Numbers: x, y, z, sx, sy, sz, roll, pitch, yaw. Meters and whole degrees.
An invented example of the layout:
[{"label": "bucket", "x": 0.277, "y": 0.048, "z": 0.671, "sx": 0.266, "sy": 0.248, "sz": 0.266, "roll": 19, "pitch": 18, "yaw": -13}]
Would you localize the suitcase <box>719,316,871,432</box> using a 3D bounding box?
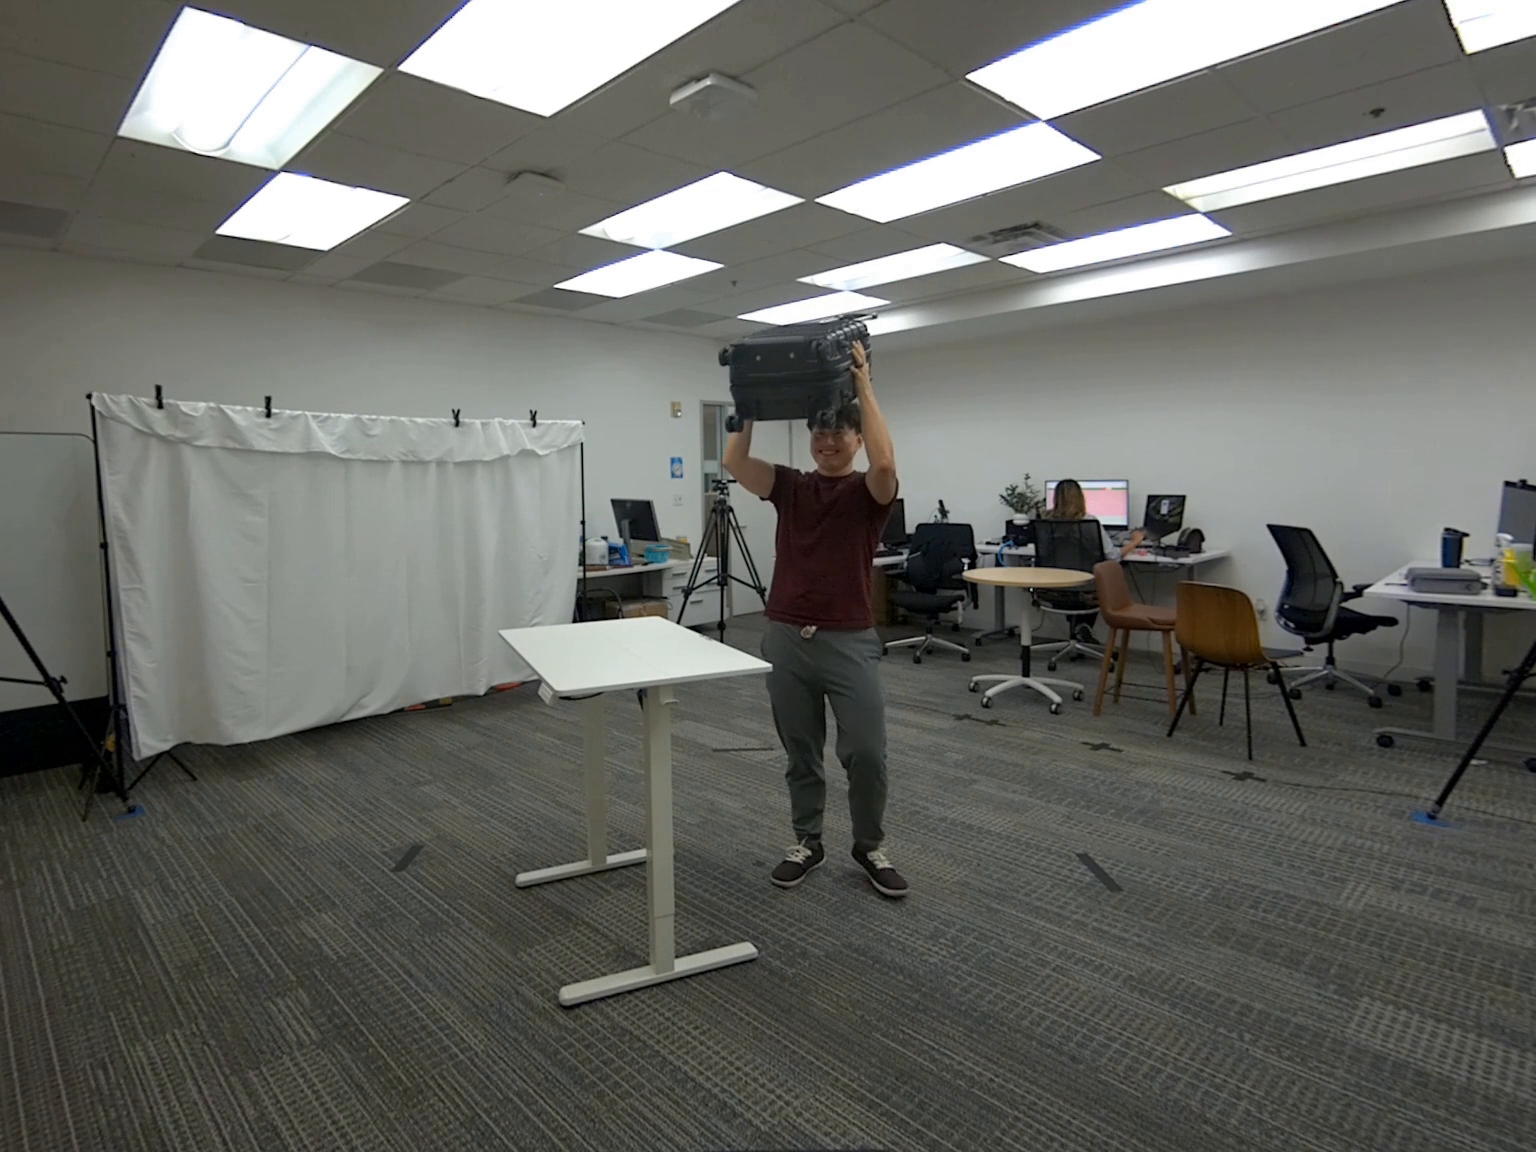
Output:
[{"label": "suitcase", "x": 0.187, "y": -0.732, "z": 2.913, "sx": 0.392, "sy": 0.252, "sz": 0.975, "roll": 2, "pitch": 22, "yaw": 23}]
